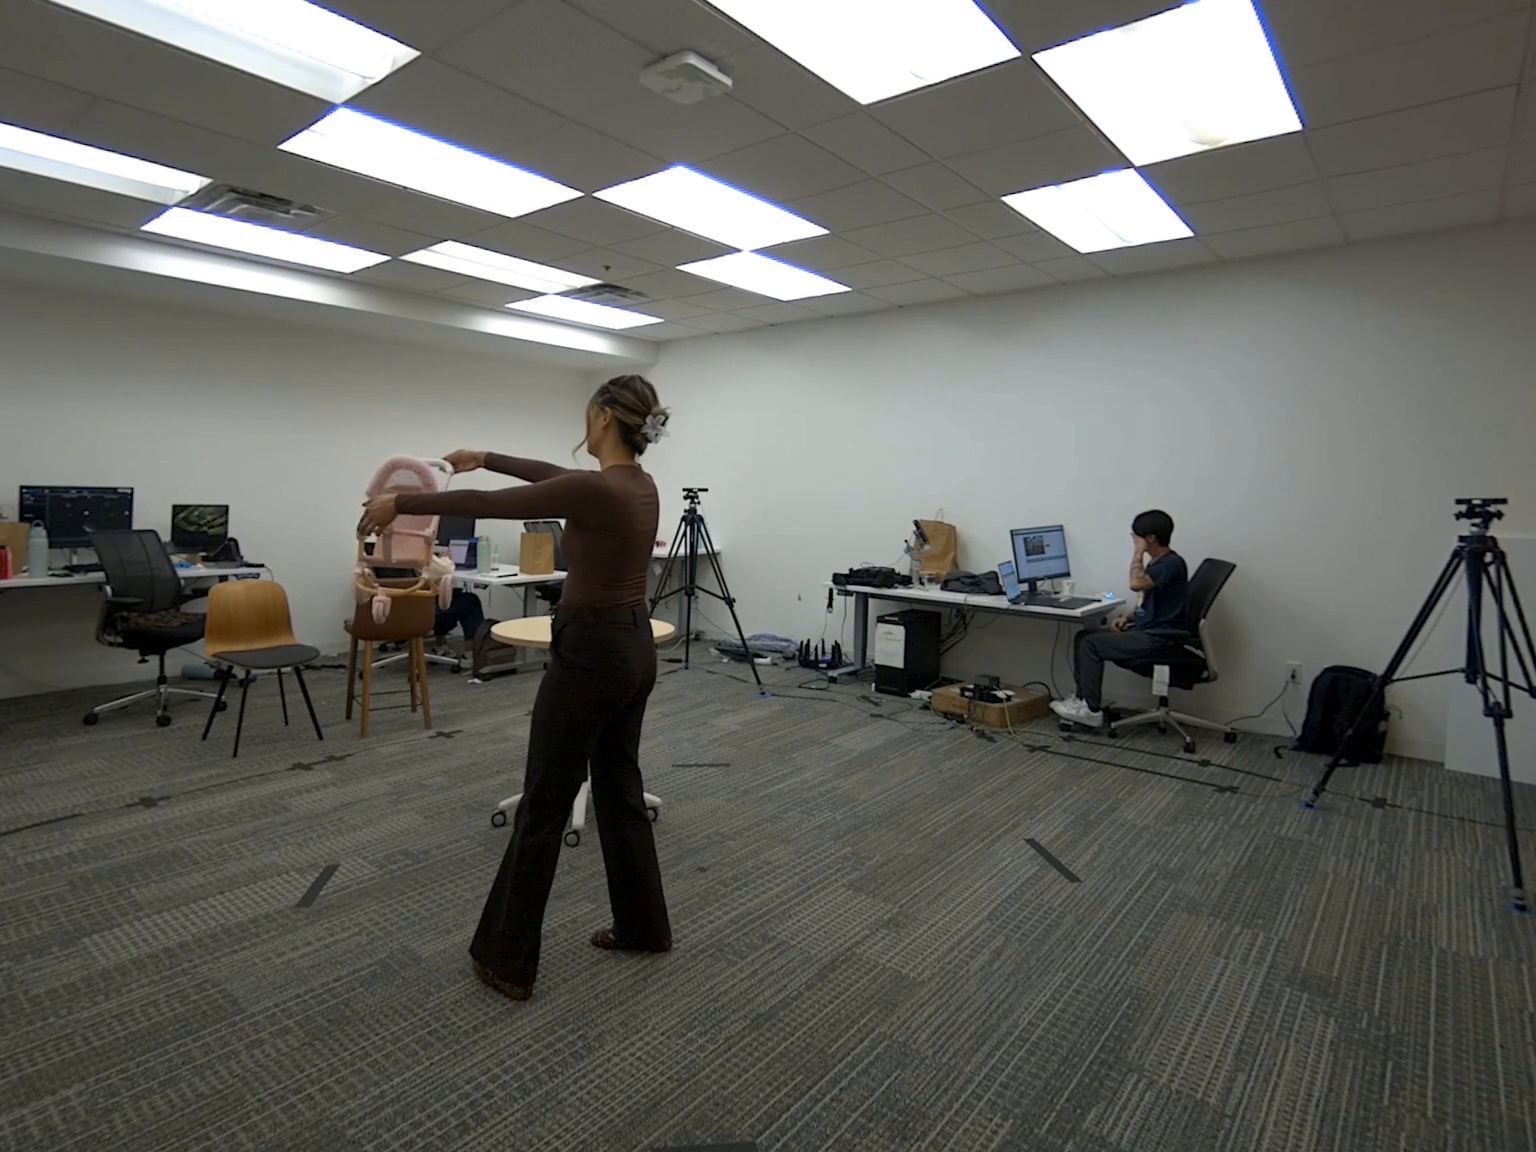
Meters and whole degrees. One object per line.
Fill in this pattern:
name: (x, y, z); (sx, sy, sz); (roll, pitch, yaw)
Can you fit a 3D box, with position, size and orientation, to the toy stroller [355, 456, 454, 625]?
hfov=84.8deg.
toy stroller: (-1.105, -0.127, 2.555); (0.280, 0.539, 0.340); (5, -8, -5)
